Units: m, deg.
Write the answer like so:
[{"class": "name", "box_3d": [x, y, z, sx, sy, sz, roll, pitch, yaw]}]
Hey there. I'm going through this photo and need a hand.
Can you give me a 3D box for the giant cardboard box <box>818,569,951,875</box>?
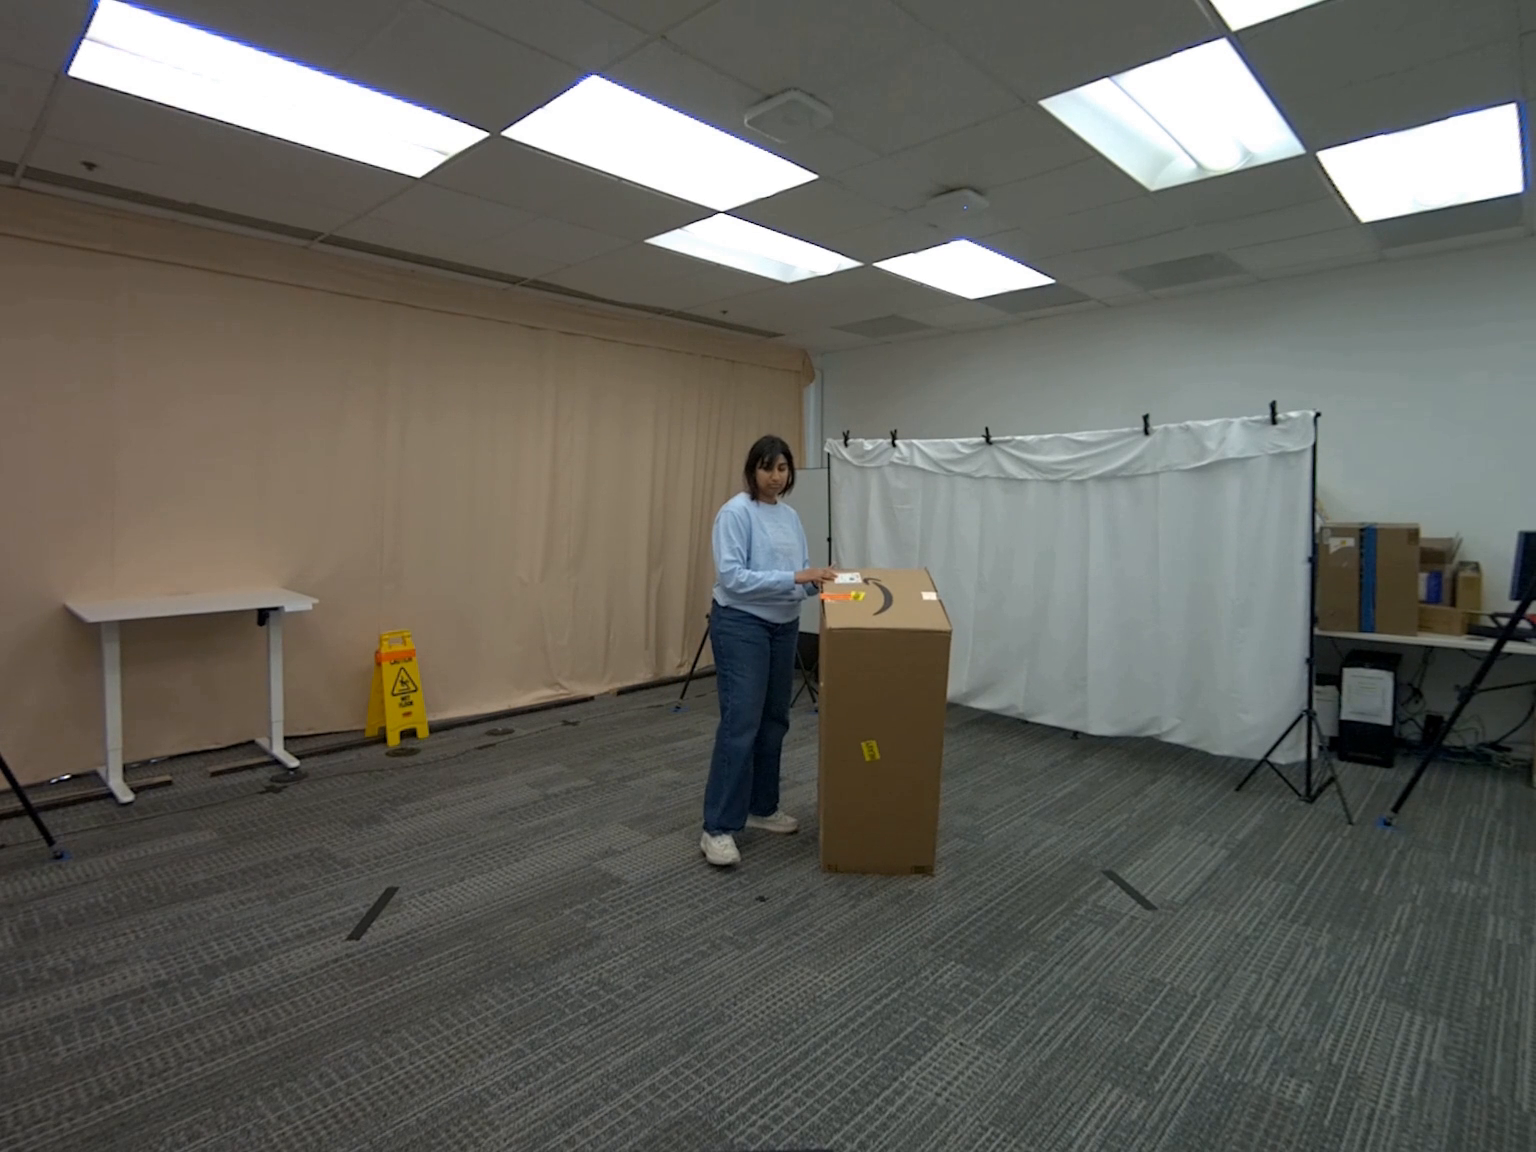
[{"class": "giant cardboard box", "box_3d": [0.423, 0.549, 3.274, 0.449, 1.014, 0.588, 0, 20, 4]}]
